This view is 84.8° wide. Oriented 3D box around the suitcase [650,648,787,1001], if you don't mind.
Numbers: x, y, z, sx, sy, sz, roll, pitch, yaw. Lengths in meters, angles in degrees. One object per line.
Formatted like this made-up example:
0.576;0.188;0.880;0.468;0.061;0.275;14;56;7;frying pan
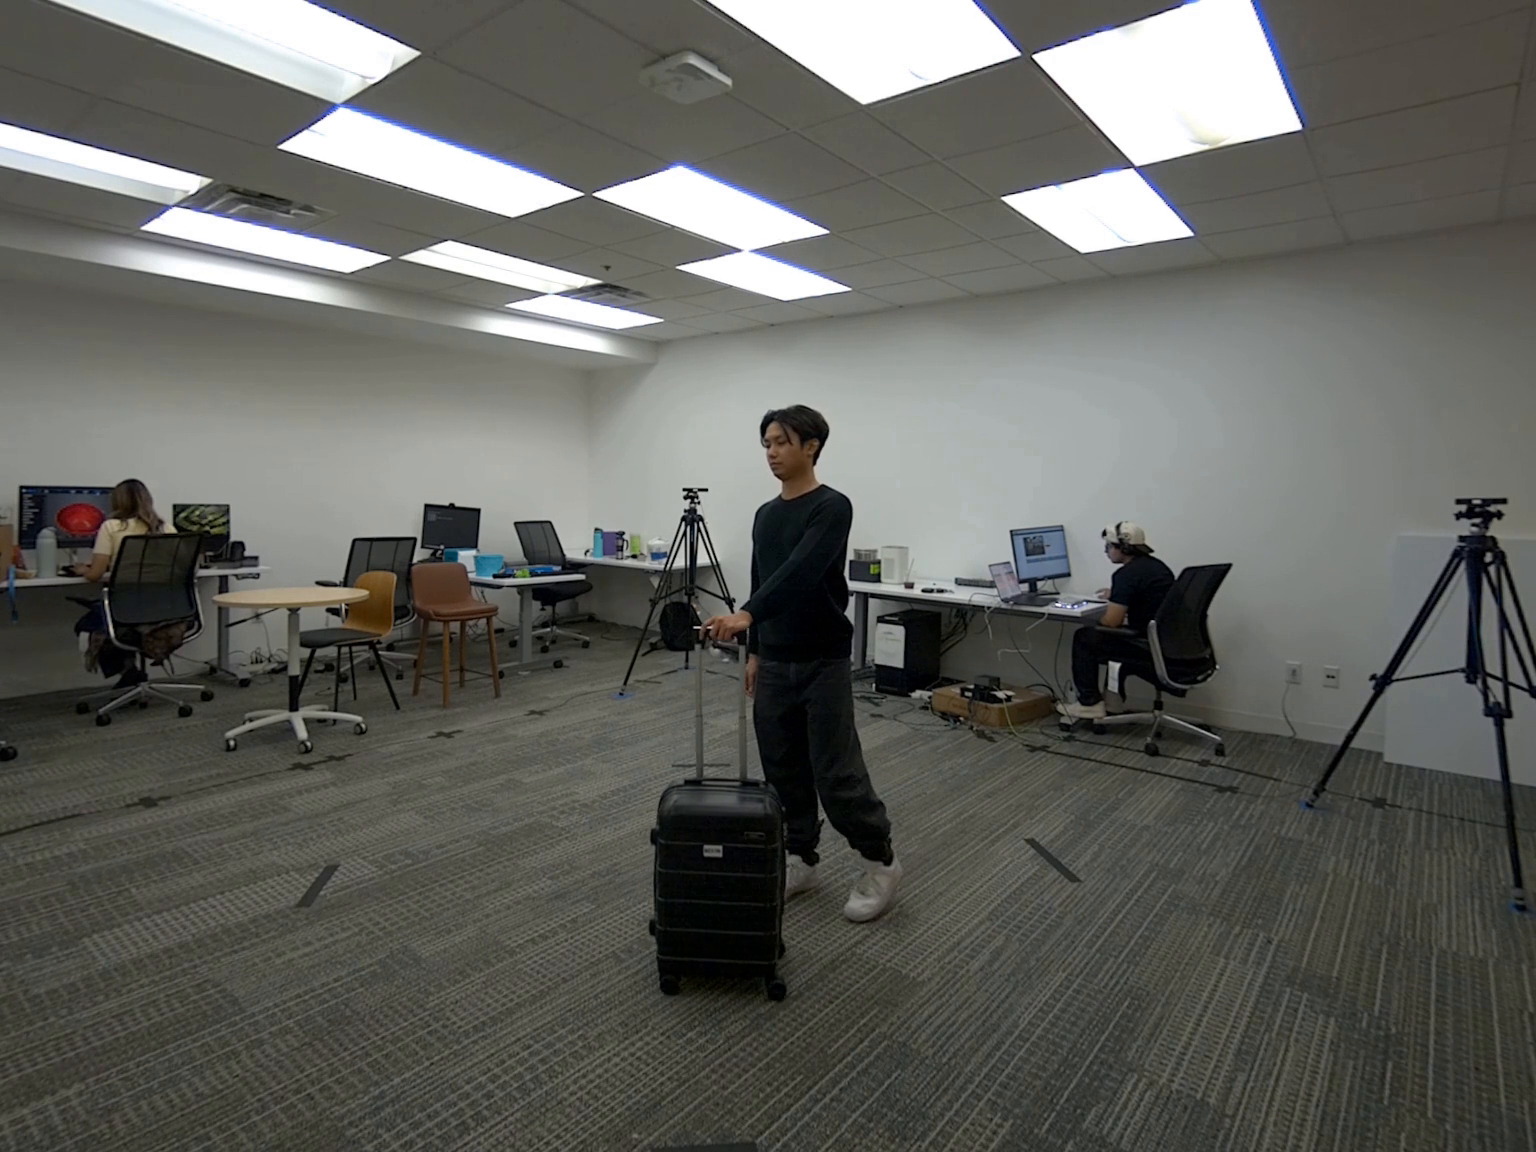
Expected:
-0.145;0.665;2.414;0.385;0.975;0.257;0;4;3;suitcase
